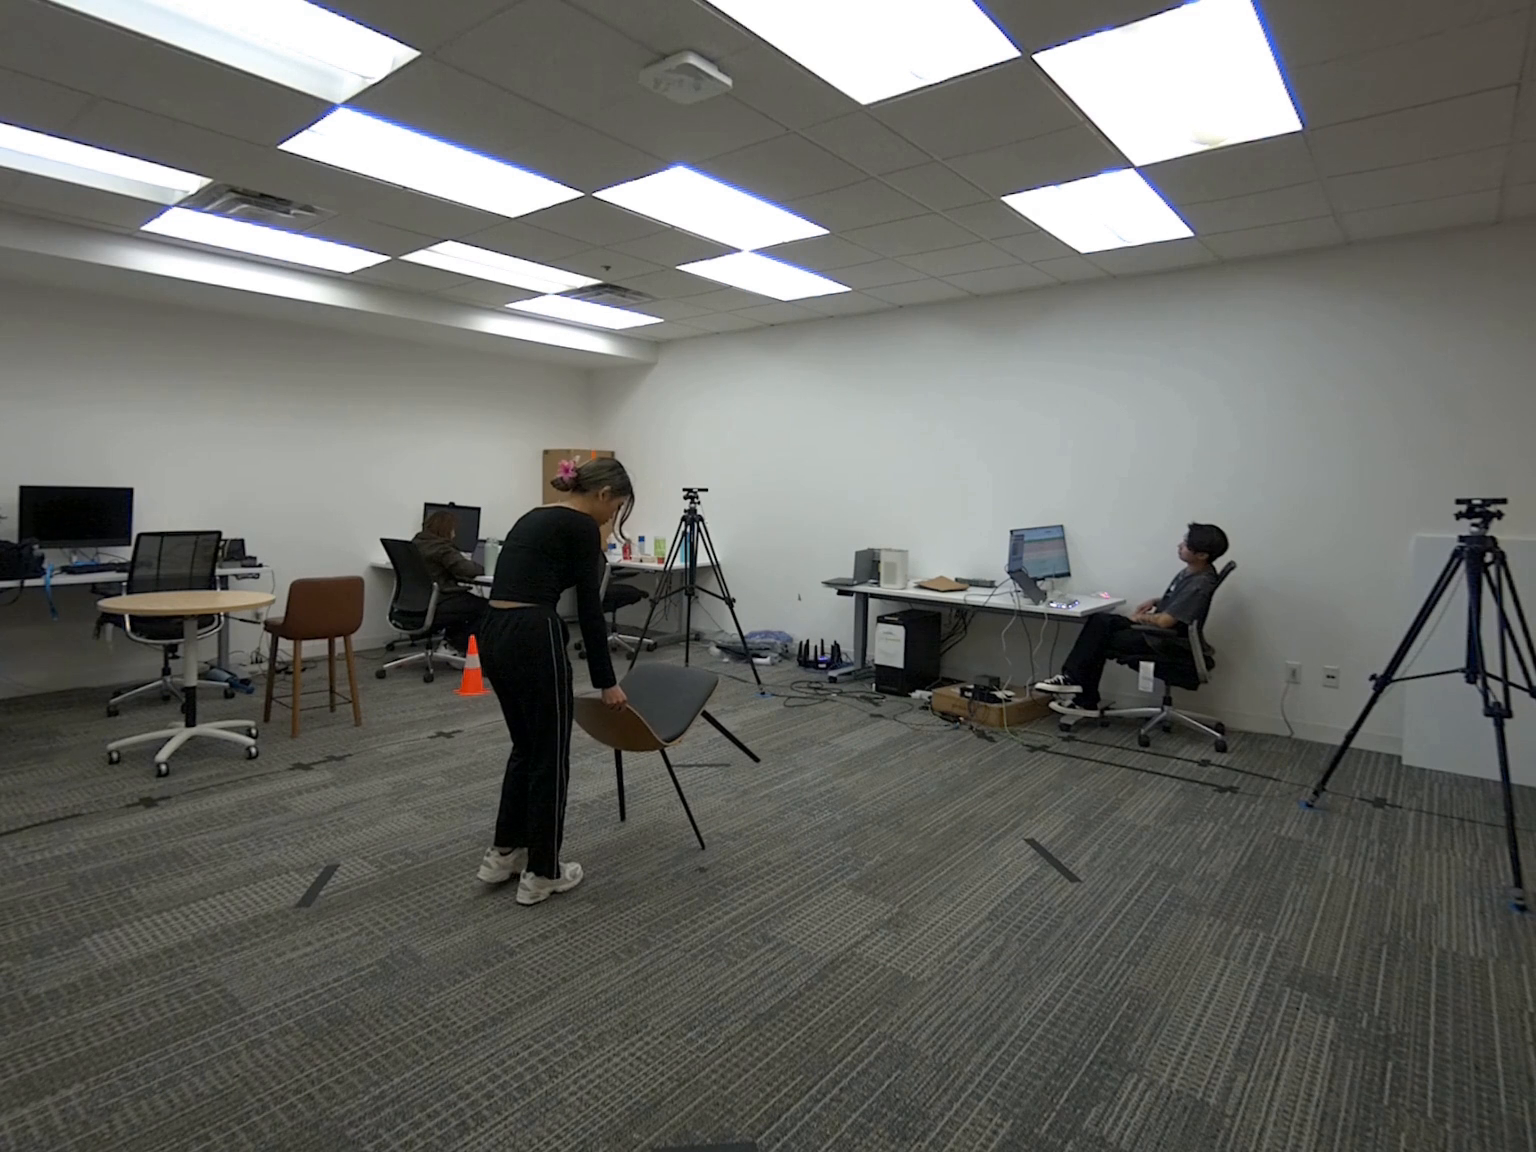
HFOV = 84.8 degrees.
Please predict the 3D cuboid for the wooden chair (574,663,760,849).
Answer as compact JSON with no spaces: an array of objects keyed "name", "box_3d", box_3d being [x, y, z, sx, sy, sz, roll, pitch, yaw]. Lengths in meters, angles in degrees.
[{"name":"wooden chair","box_3d":[-0.460,0.554,3.346,0.494,0.846,0.525,4,44,37]}]
